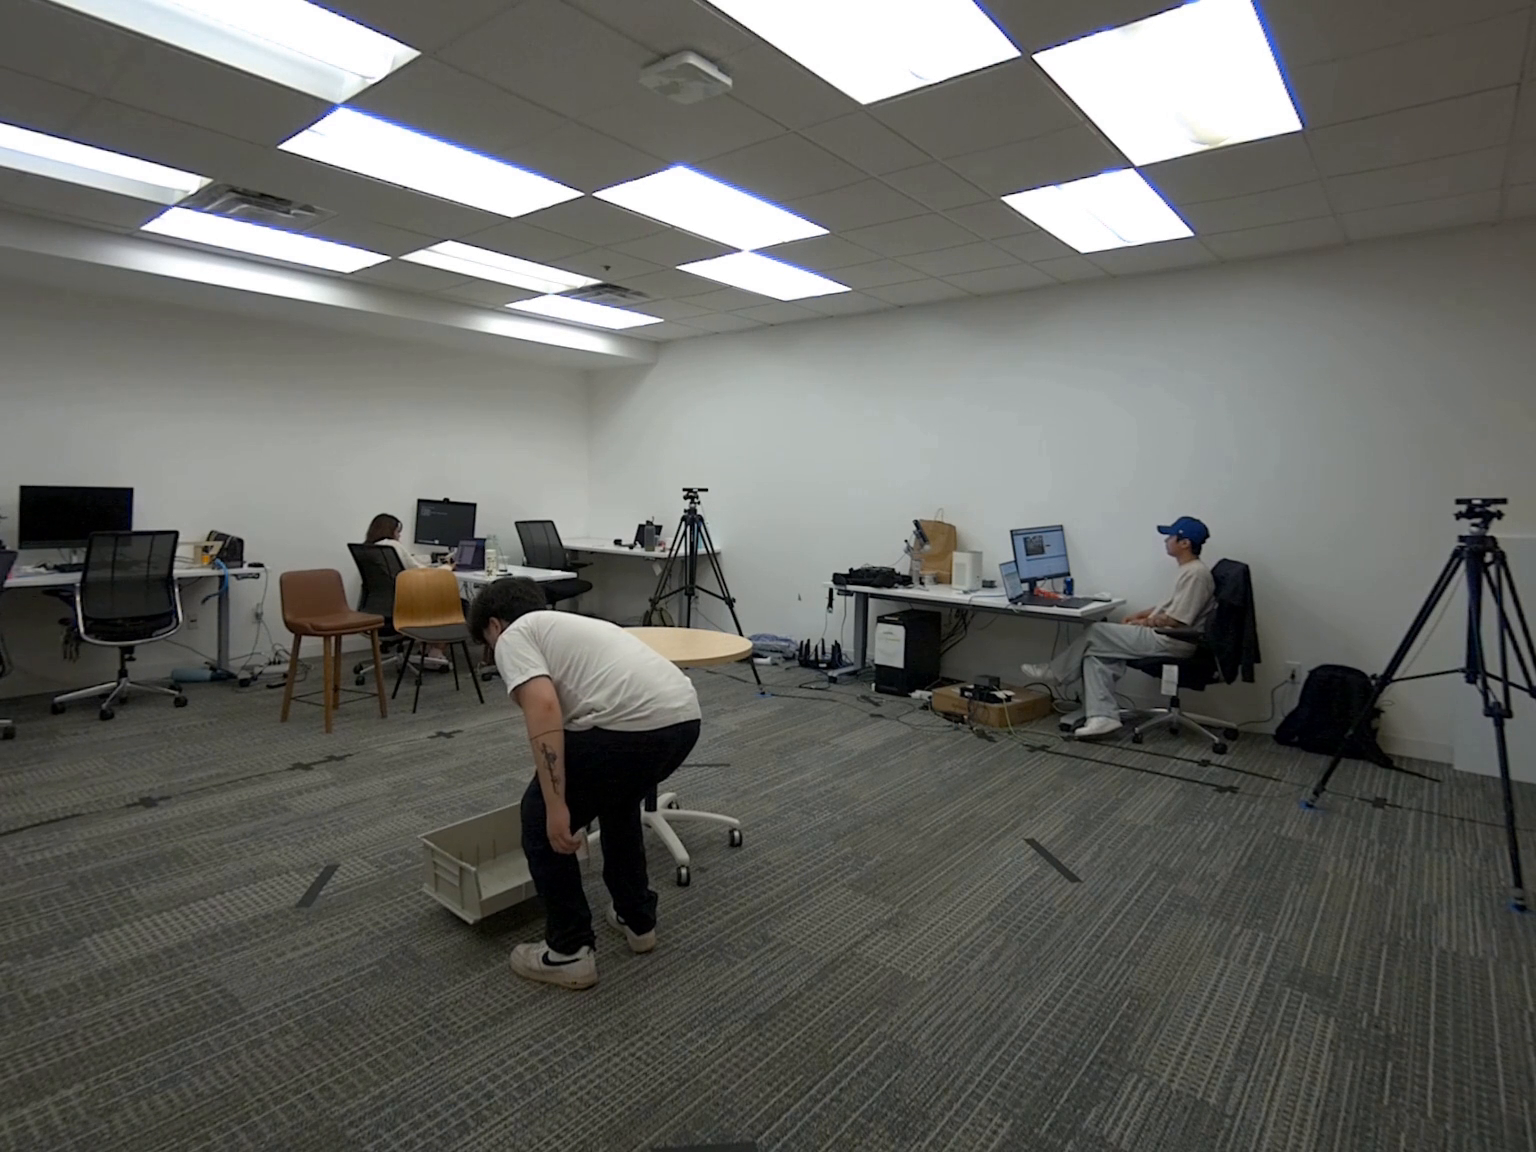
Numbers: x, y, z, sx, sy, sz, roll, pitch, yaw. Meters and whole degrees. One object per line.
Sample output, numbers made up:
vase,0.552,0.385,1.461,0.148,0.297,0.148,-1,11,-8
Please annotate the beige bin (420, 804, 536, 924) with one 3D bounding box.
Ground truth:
beige bin,-0.875,0.927,2.791,0.390,0.188,0.410,4,8,41
